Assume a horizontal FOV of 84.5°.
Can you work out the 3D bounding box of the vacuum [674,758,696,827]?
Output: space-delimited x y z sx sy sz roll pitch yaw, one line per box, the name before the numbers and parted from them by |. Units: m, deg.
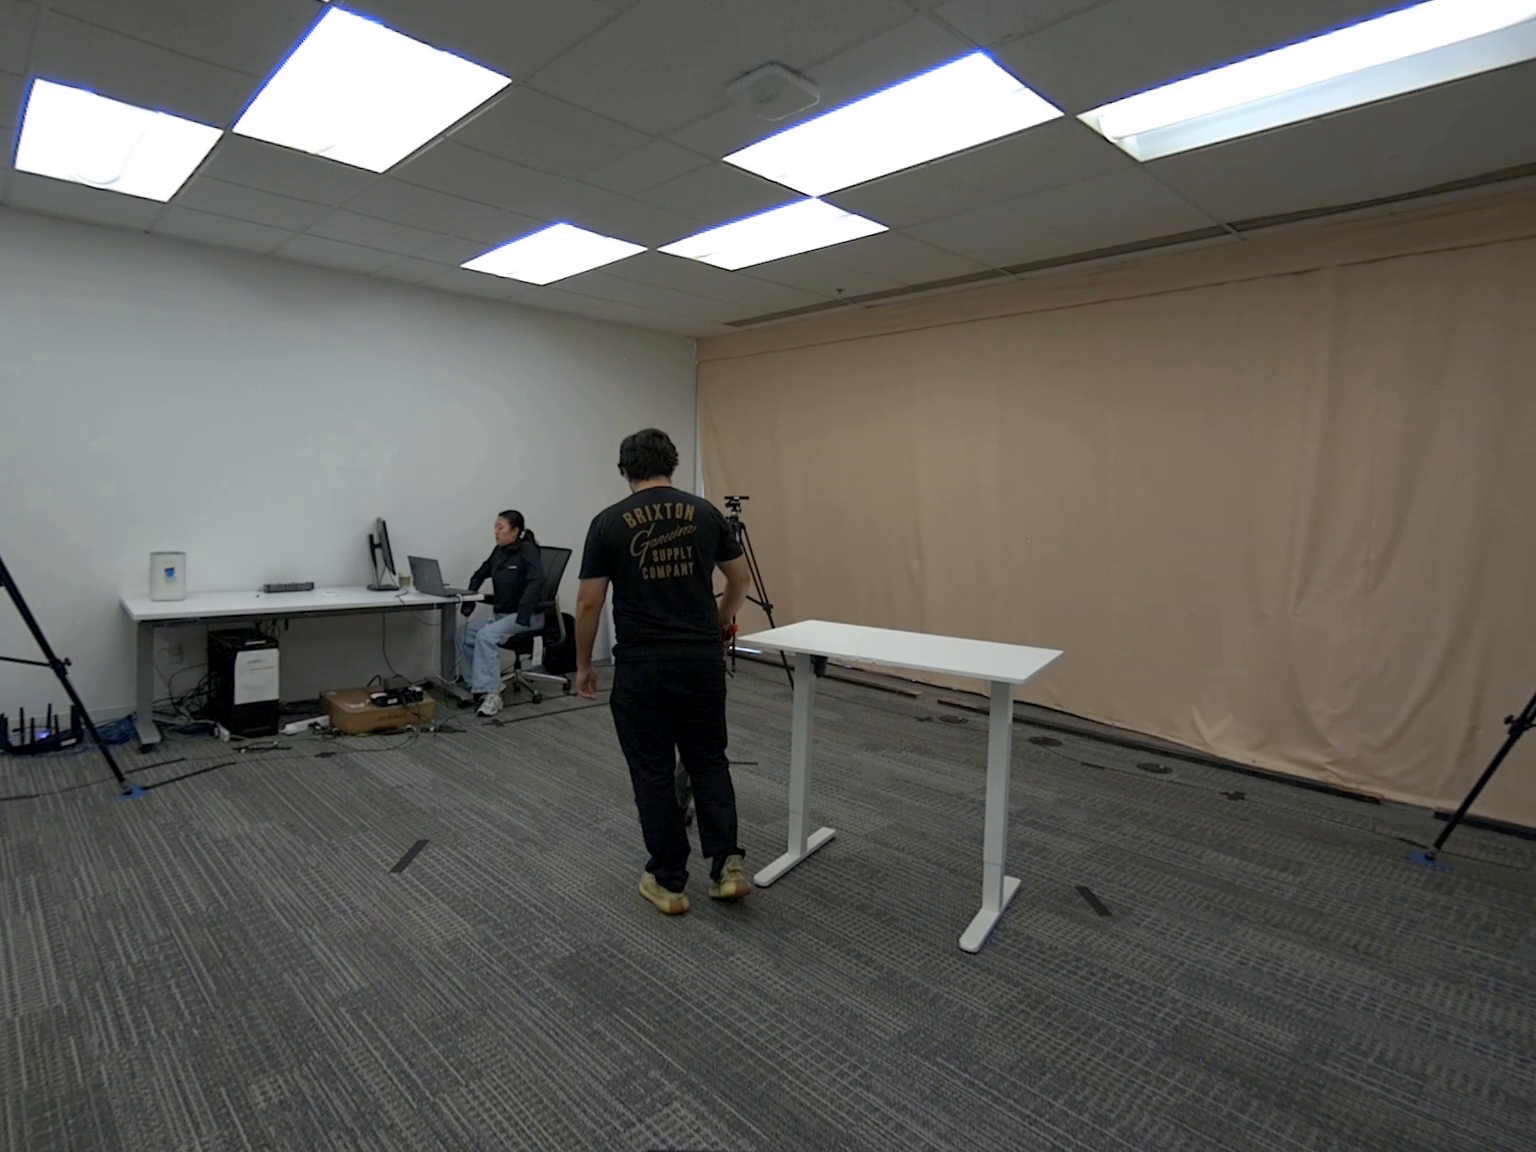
vacuum | -0.288 0.623 3.362 0.247 1.036 0.148 -2 35 -32
